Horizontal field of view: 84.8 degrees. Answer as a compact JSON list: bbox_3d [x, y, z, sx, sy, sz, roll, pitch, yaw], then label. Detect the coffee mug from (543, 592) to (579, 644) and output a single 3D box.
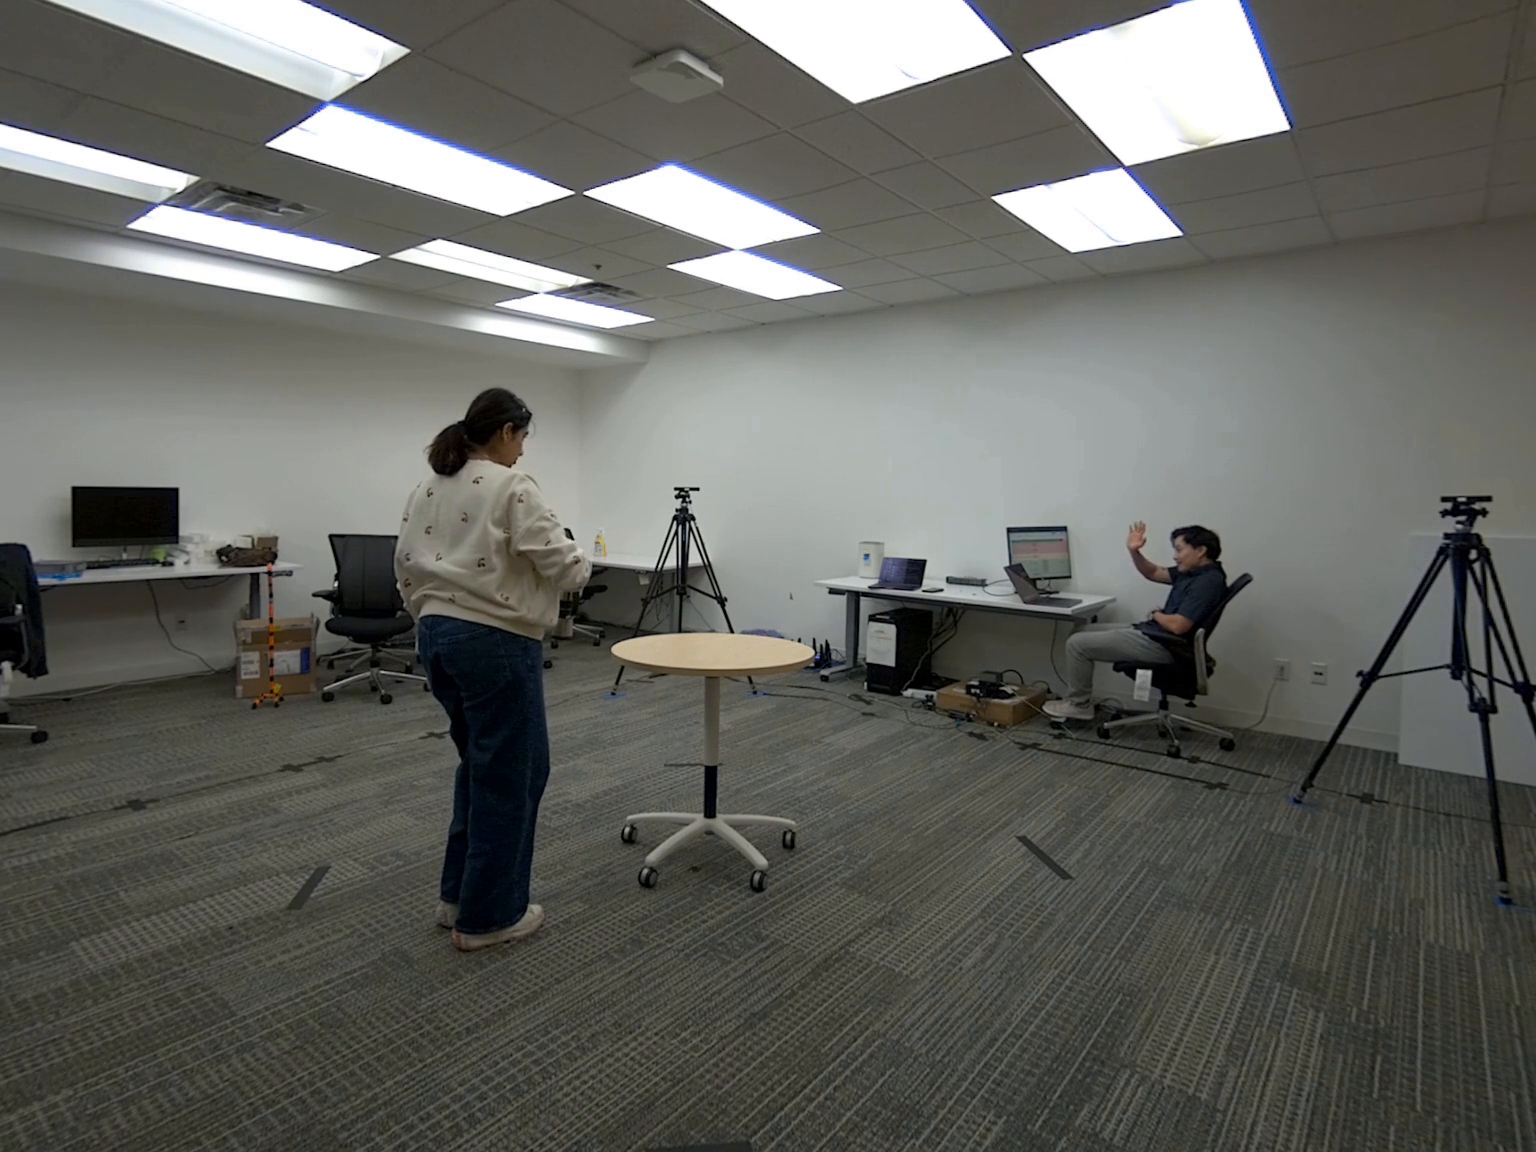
[{"bbox_3d":[-0.711,0.112,2.796,0.090,0.203,0.119,5,-2,21],"label":"coffee mug"}]
